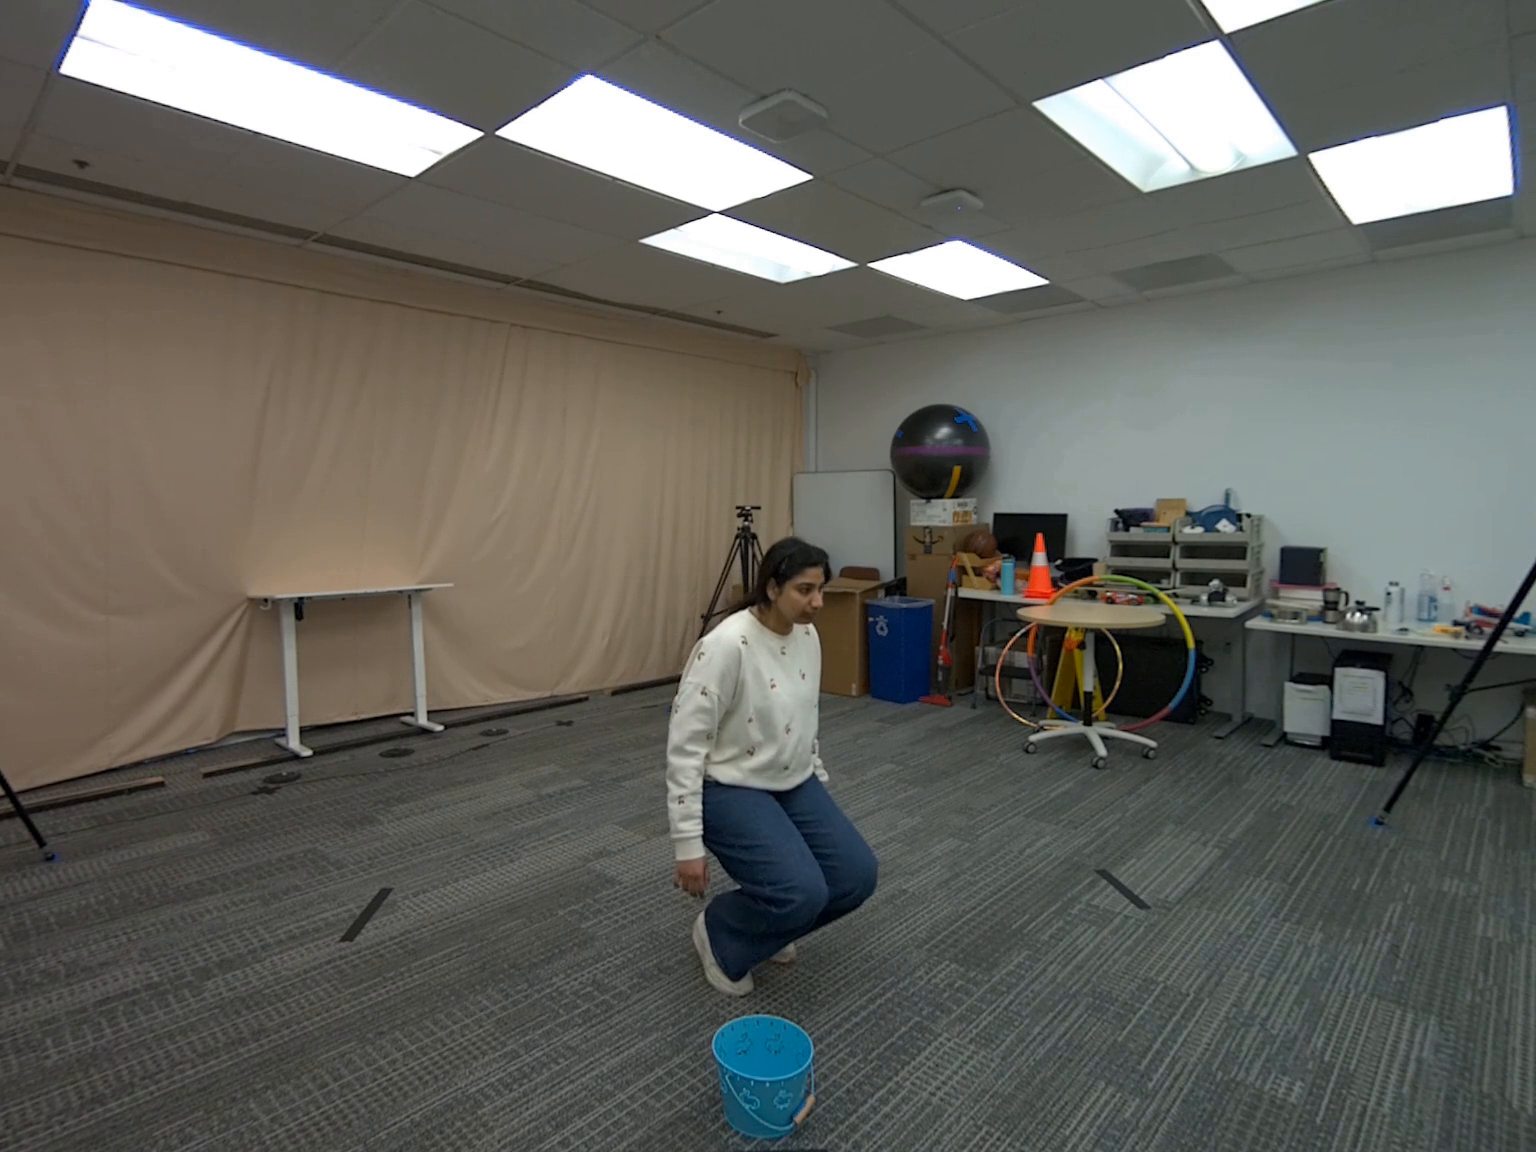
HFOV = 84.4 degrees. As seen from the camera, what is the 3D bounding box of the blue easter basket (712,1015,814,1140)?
[{"bbox_3d":[-0.012,1.146,1.951,0.243,0.155,0.244,0,4,-2],"label":"blue easter basket"}]
